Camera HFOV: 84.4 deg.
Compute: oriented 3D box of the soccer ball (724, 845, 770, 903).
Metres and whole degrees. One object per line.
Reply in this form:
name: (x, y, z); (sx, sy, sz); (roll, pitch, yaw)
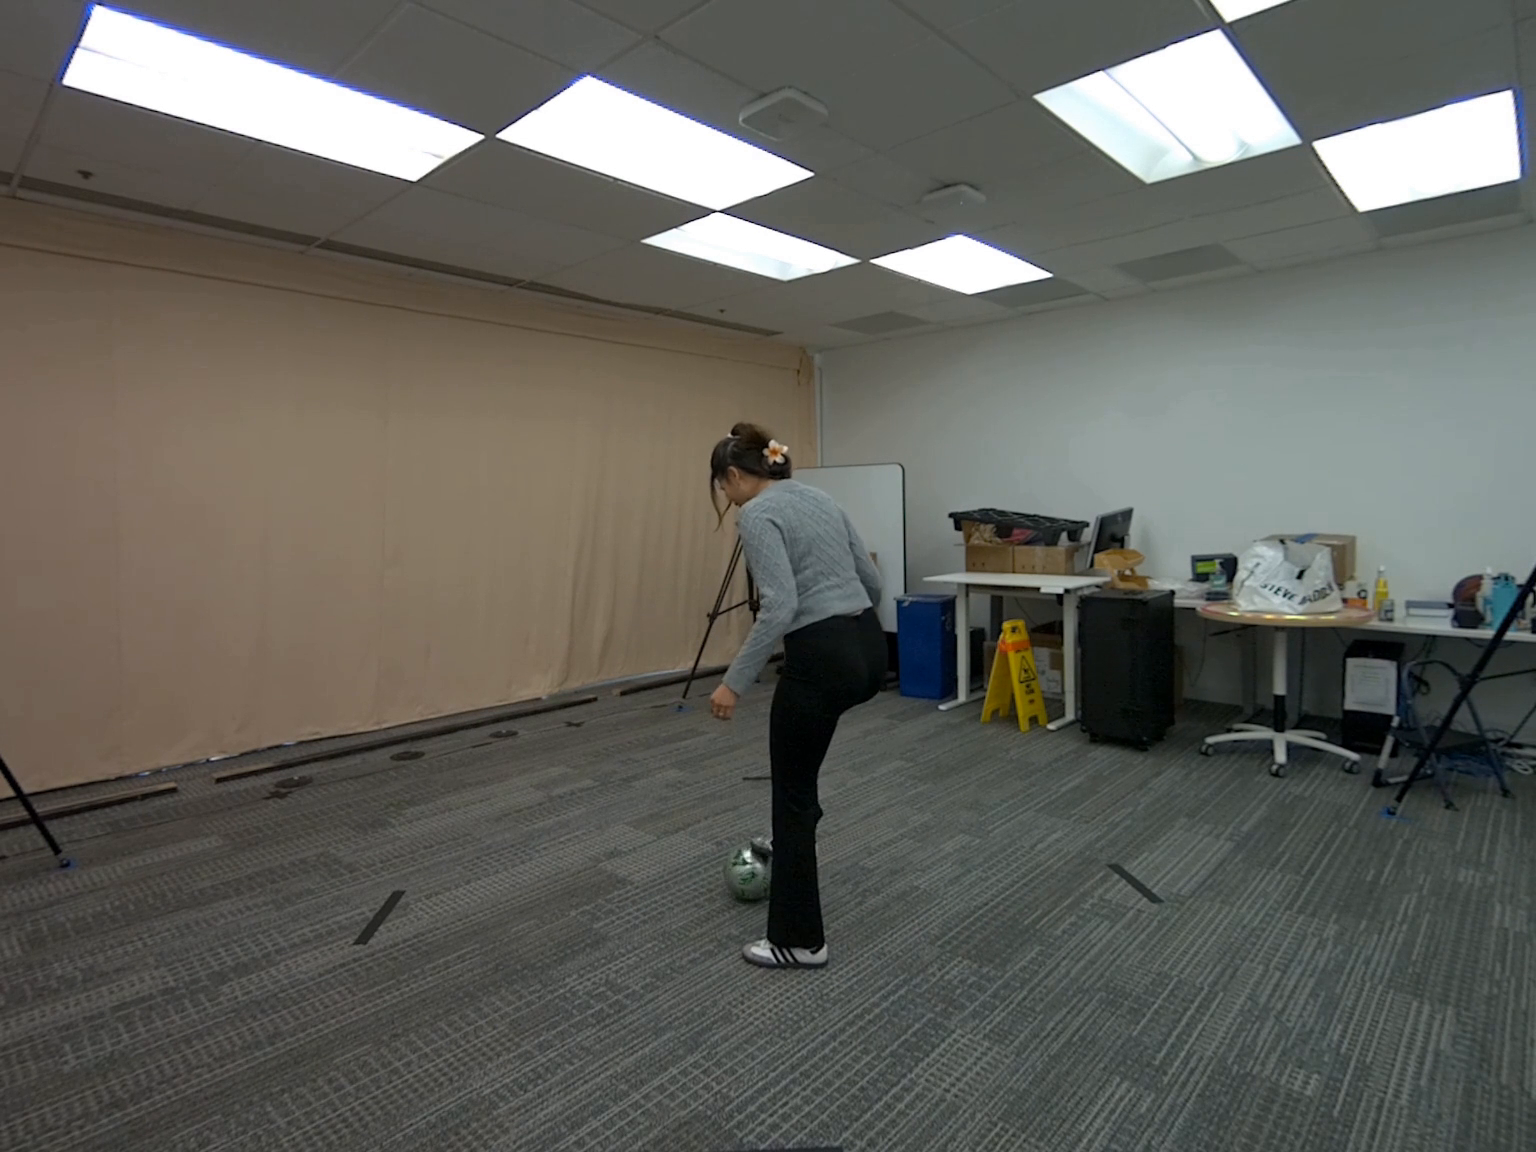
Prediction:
soccer ball: (-0.034, 1.047, 2.981); (0.187, 0.187, 0.188); (-1, 4, -2)
